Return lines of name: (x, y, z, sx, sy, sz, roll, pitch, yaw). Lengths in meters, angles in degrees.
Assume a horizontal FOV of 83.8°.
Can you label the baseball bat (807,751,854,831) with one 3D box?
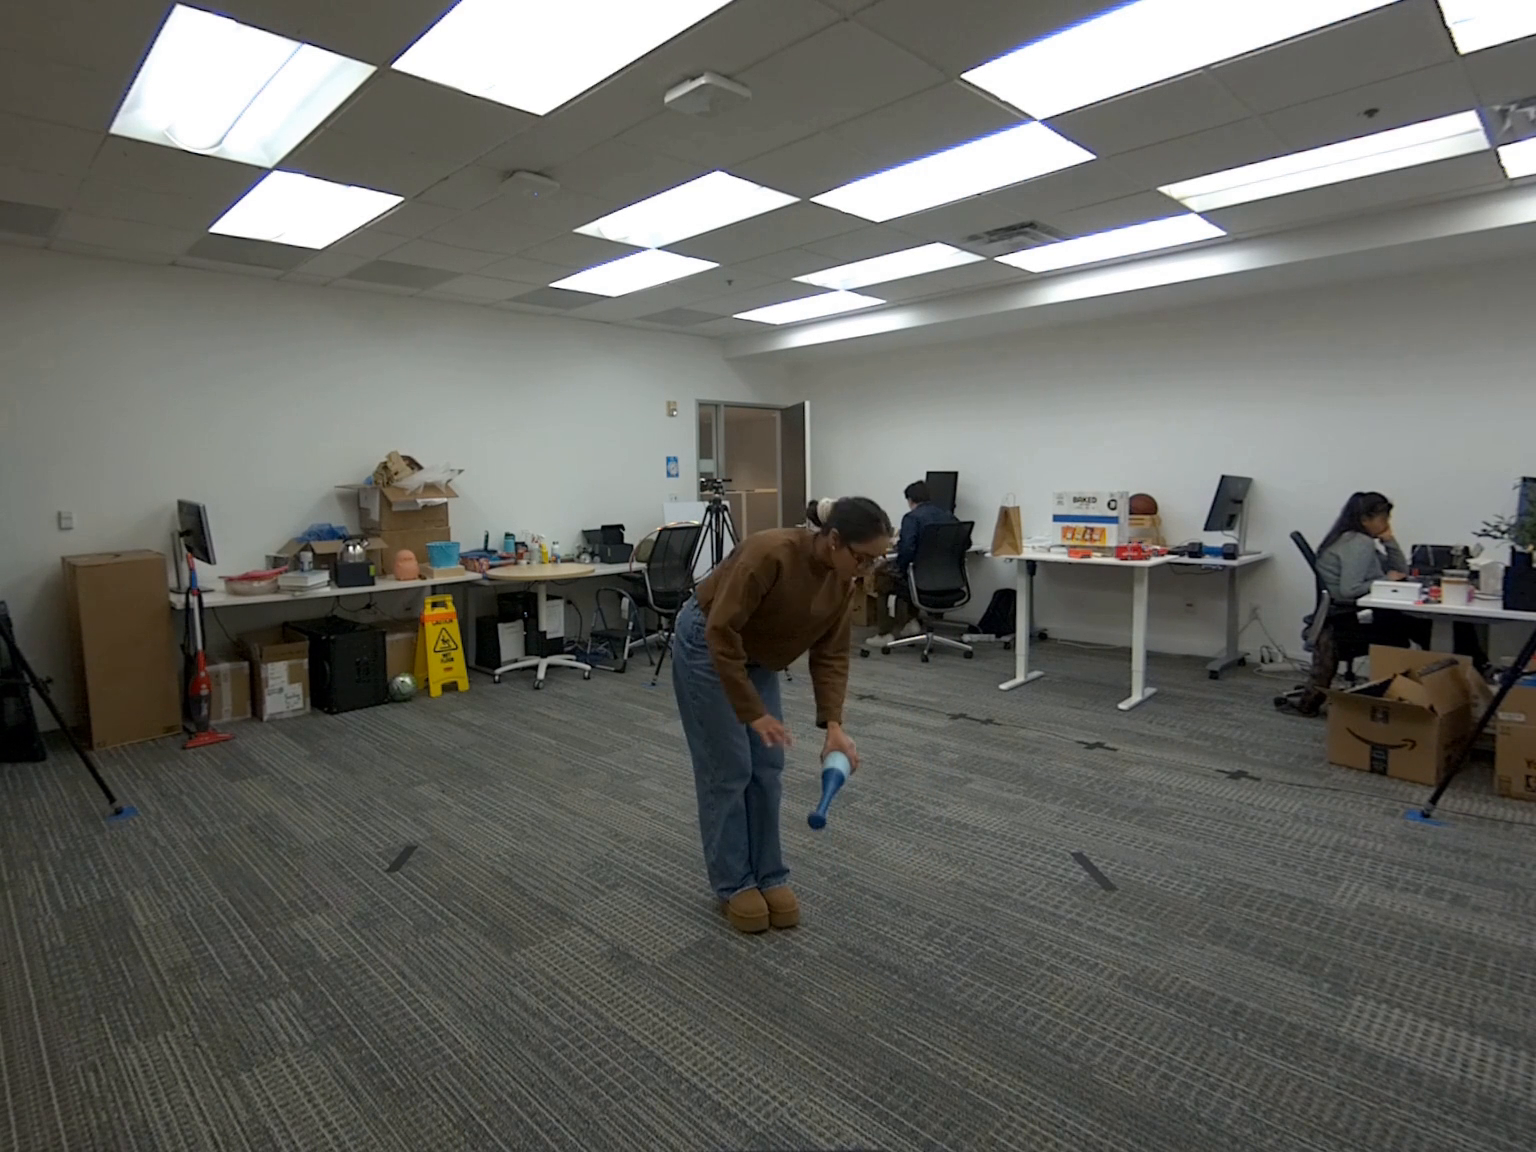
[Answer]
baseball bat: (0.195, 0.597, 2.473, 0.090, 0.088, 0.541, 0, 10, 11)
